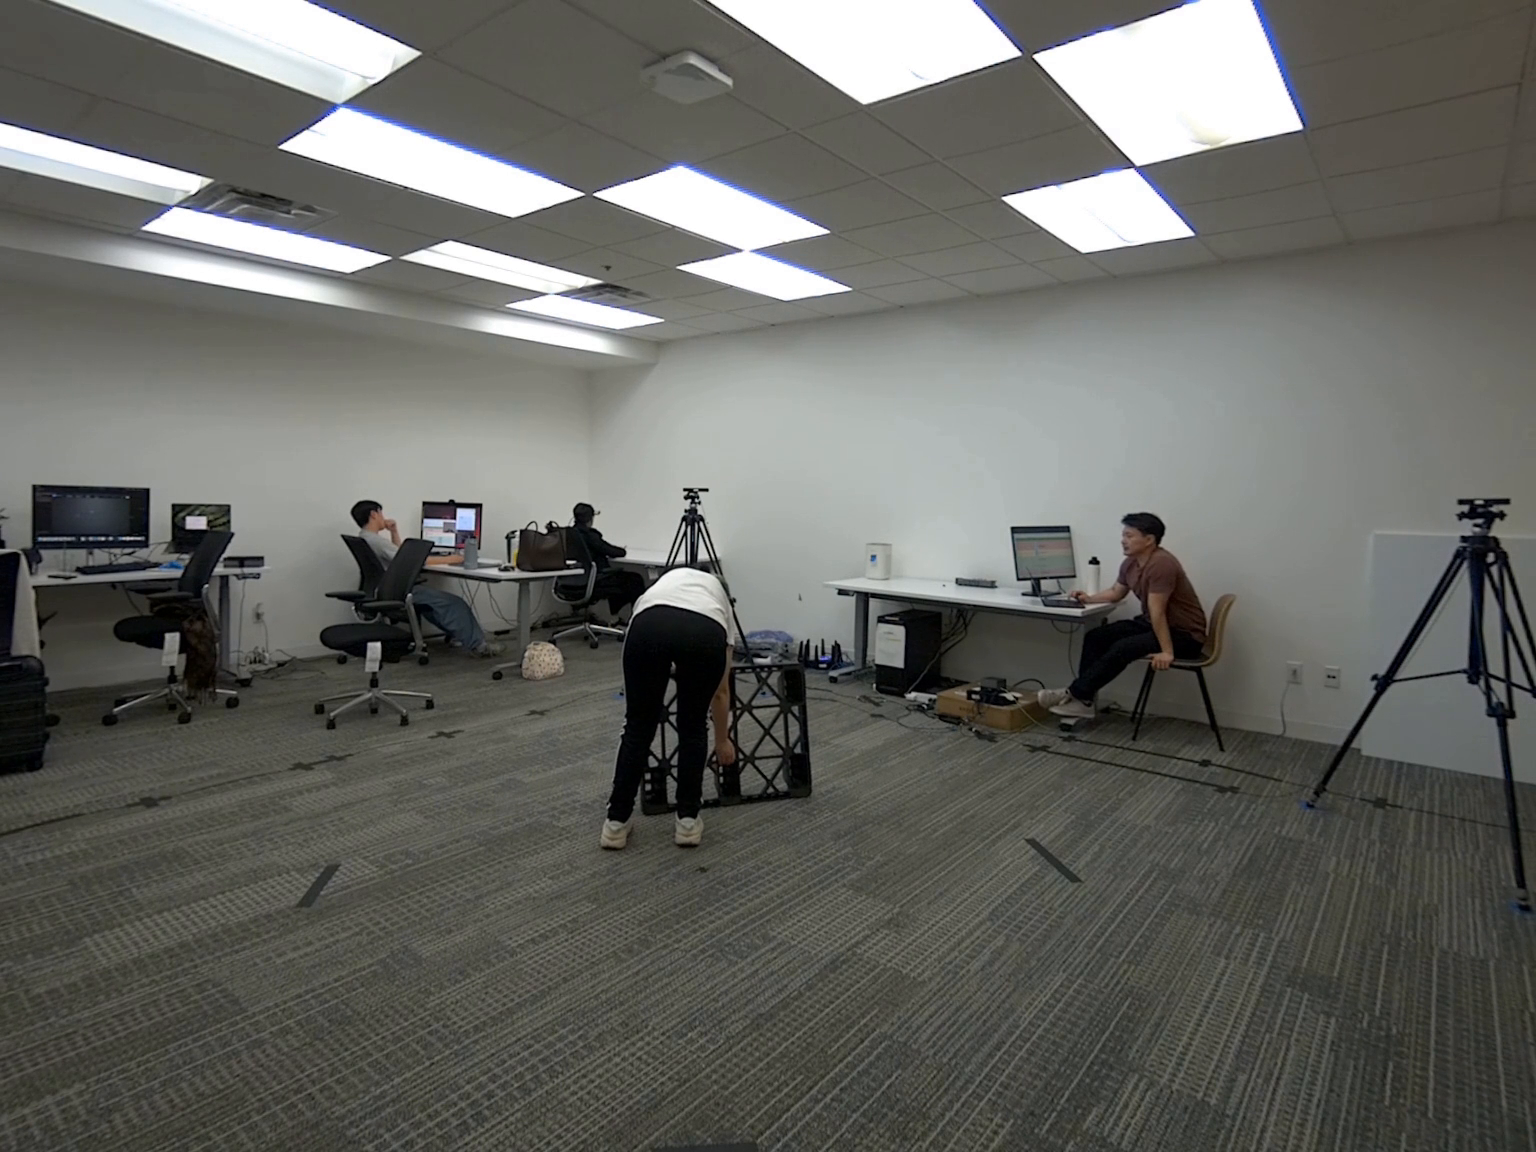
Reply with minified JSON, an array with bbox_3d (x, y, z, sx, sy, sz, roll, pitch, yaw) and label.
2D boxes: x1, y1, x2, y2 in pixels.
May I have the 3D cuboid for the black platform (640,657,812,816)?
[{"bbox_3d":[-0.206,0.717,3.842,0.789,0.610,0.145,0,-8,-21],"label":"black platform"}]
